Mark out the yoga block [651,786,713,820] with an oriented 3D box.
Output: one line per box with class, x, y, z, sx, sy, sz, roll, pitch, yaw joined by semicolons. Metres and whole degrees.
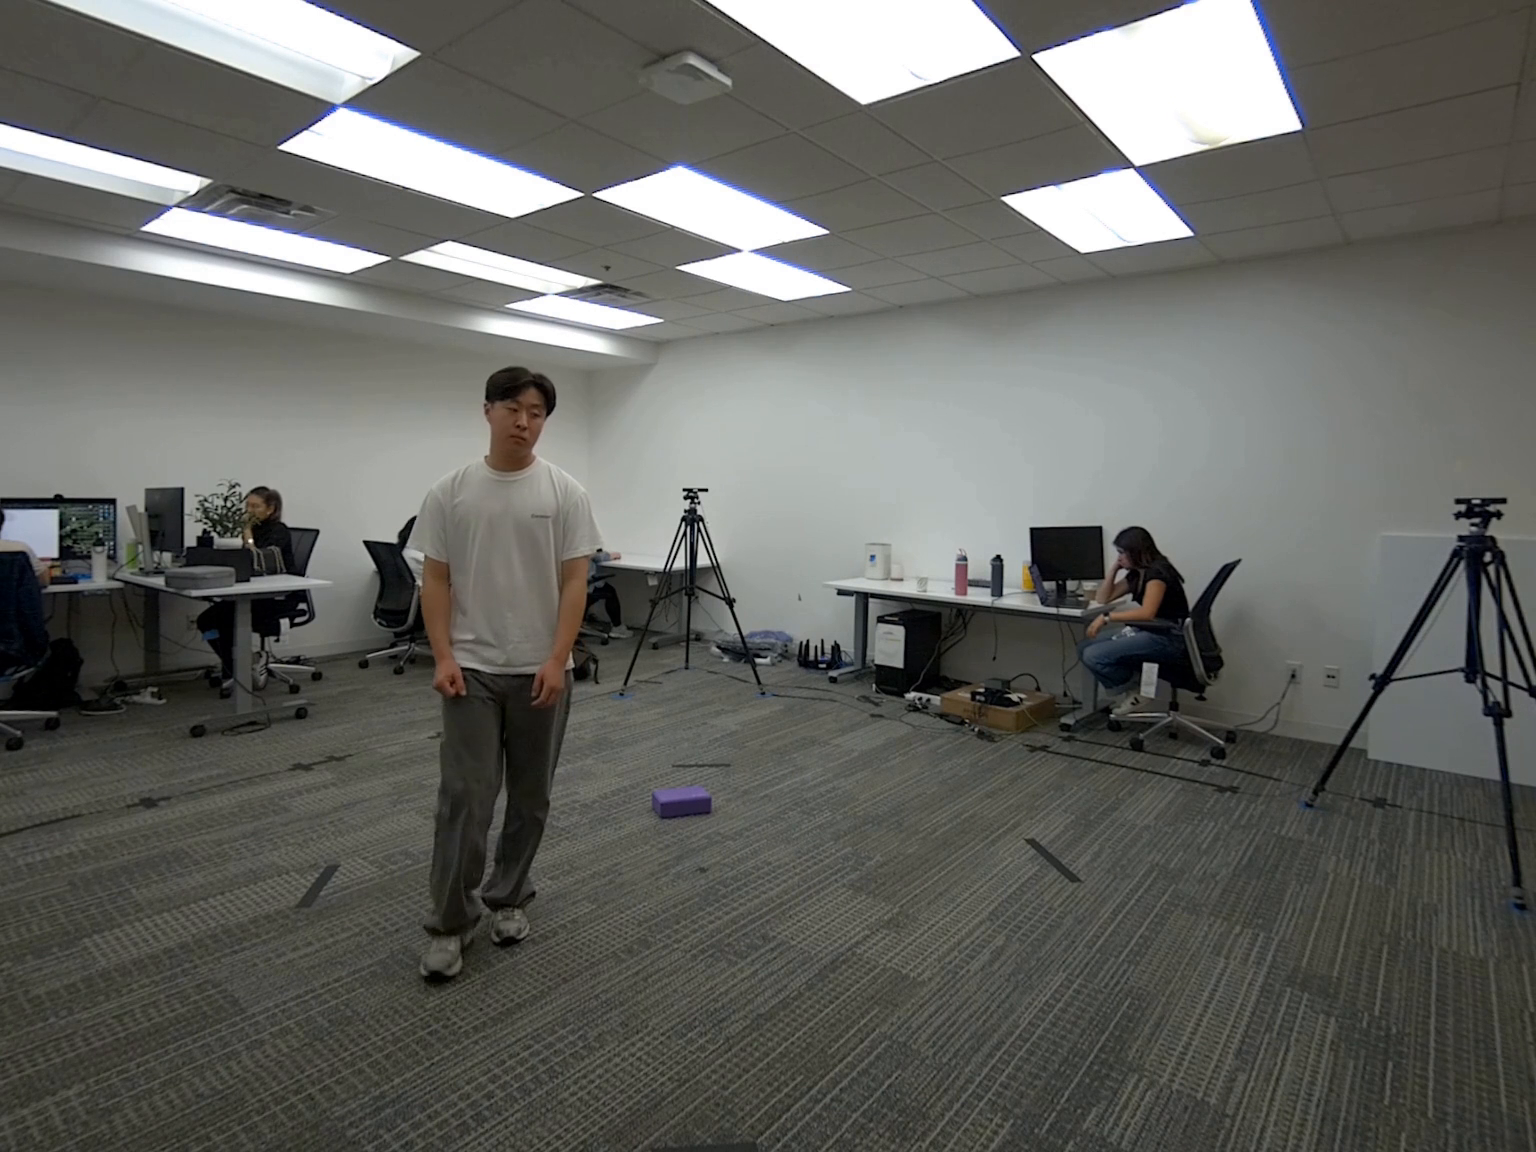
yoga block;-0.372;0.965;3.683;0.225;0.076;0.153;-2;6;-20
